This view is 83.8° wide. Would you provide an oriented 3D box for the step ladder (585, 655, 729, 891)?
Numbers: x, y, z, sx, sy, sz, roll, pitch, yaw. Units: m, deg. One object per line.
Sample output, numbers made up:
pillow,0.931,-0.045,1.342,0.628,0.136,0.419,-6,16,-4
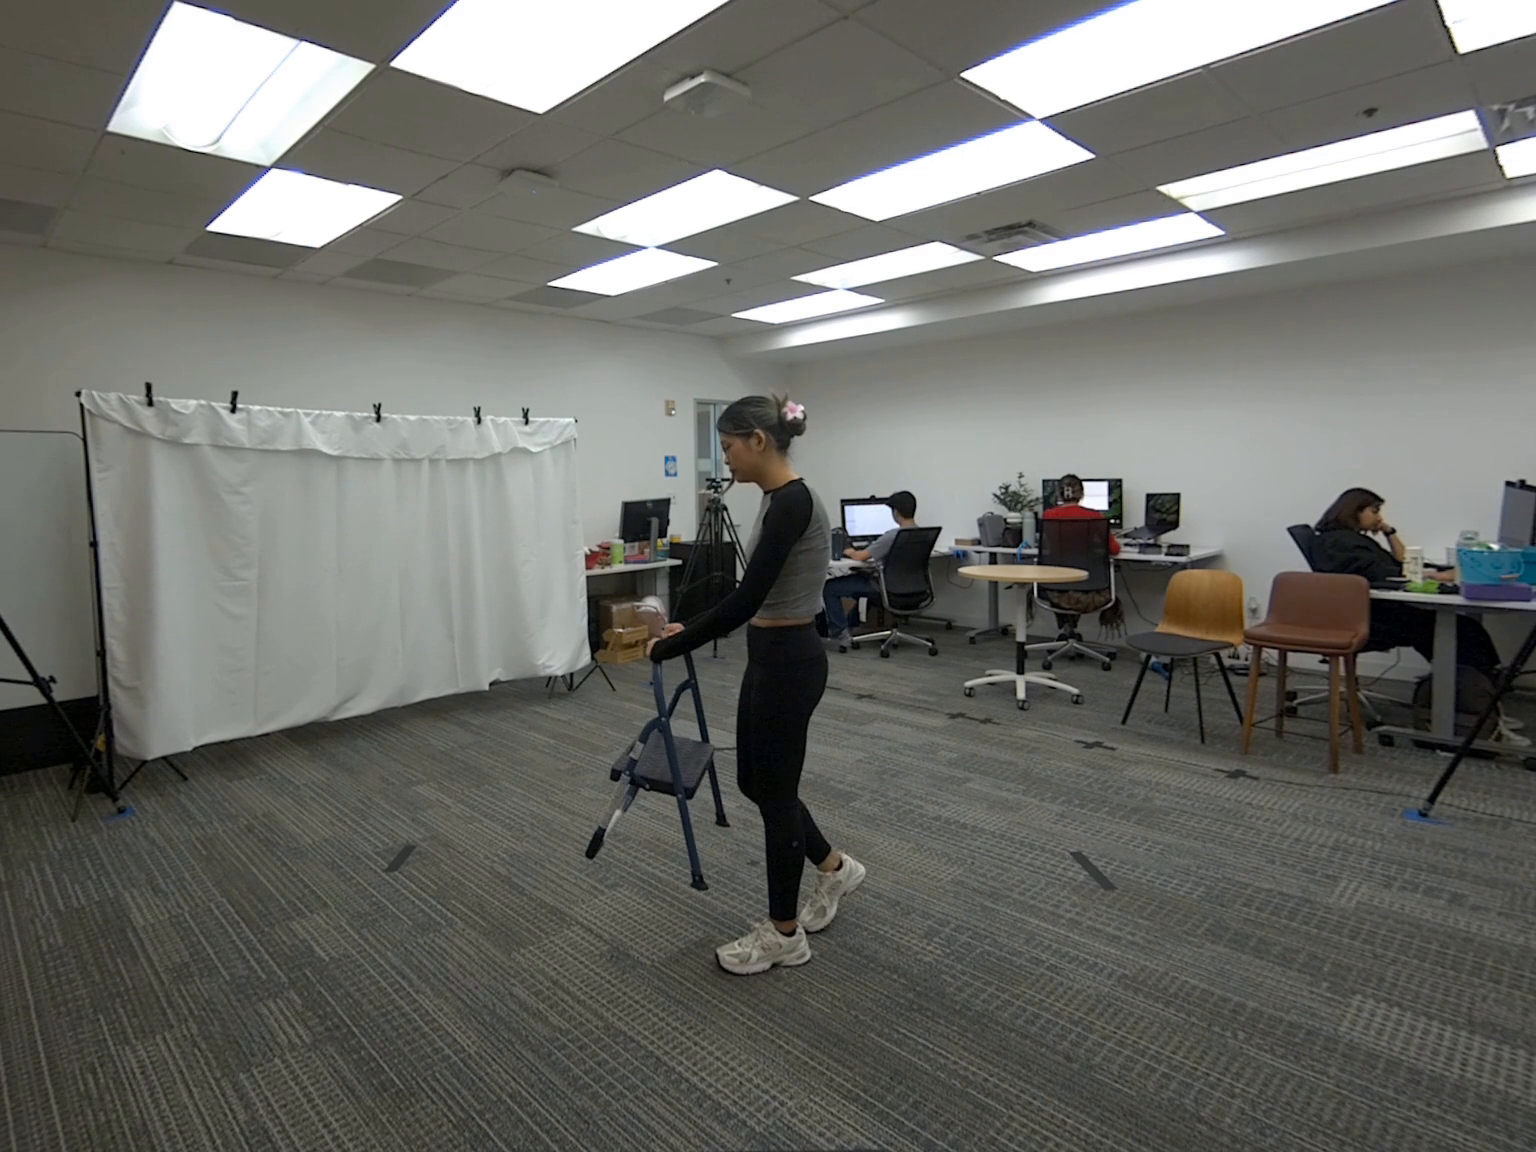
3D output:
step ladder,-0.257,0.497,2.494,0.352,0.603,0.429,10,6,5
